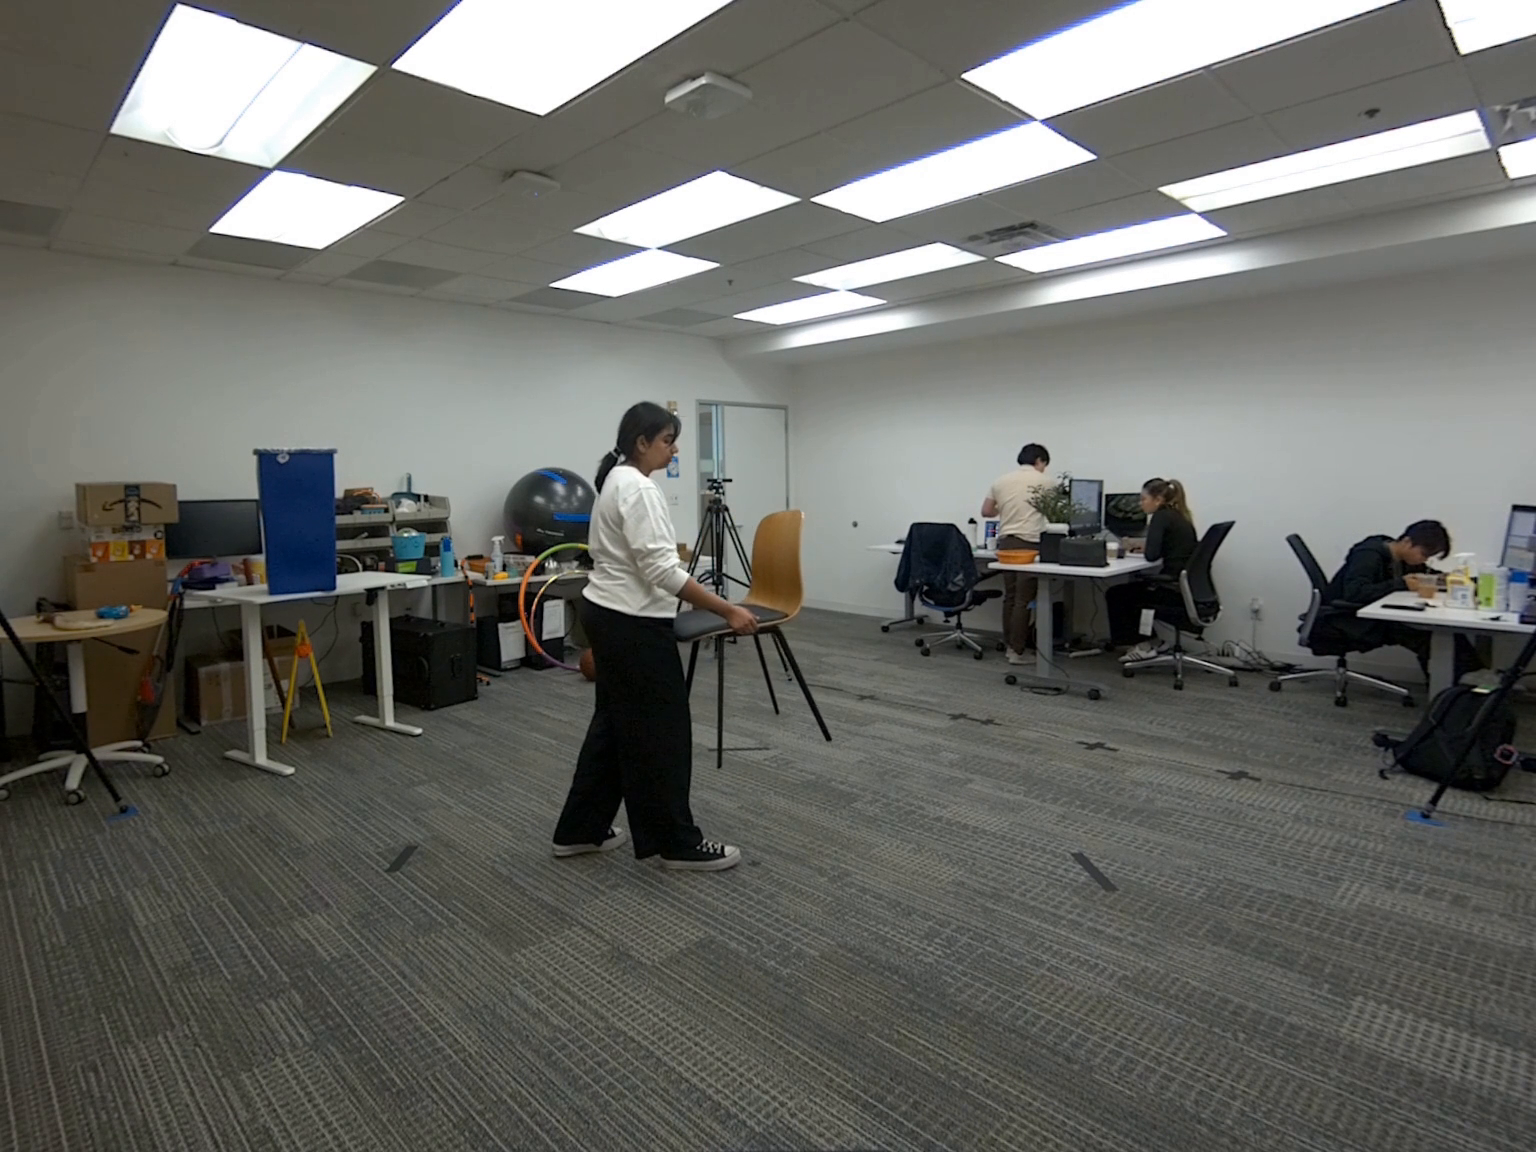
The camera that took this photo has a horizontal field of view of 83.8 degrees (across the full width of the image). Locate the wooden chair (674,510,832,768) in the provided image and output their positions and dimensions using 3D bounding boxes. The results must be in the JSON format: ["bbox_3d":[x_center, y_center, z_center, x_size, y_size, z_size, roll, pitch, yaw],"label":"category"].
[{"bbox_3d":[-0.114,0.200,3.215,0.513,0.875,0.489,-4,4,-24],"label":"wooden chair"}]
